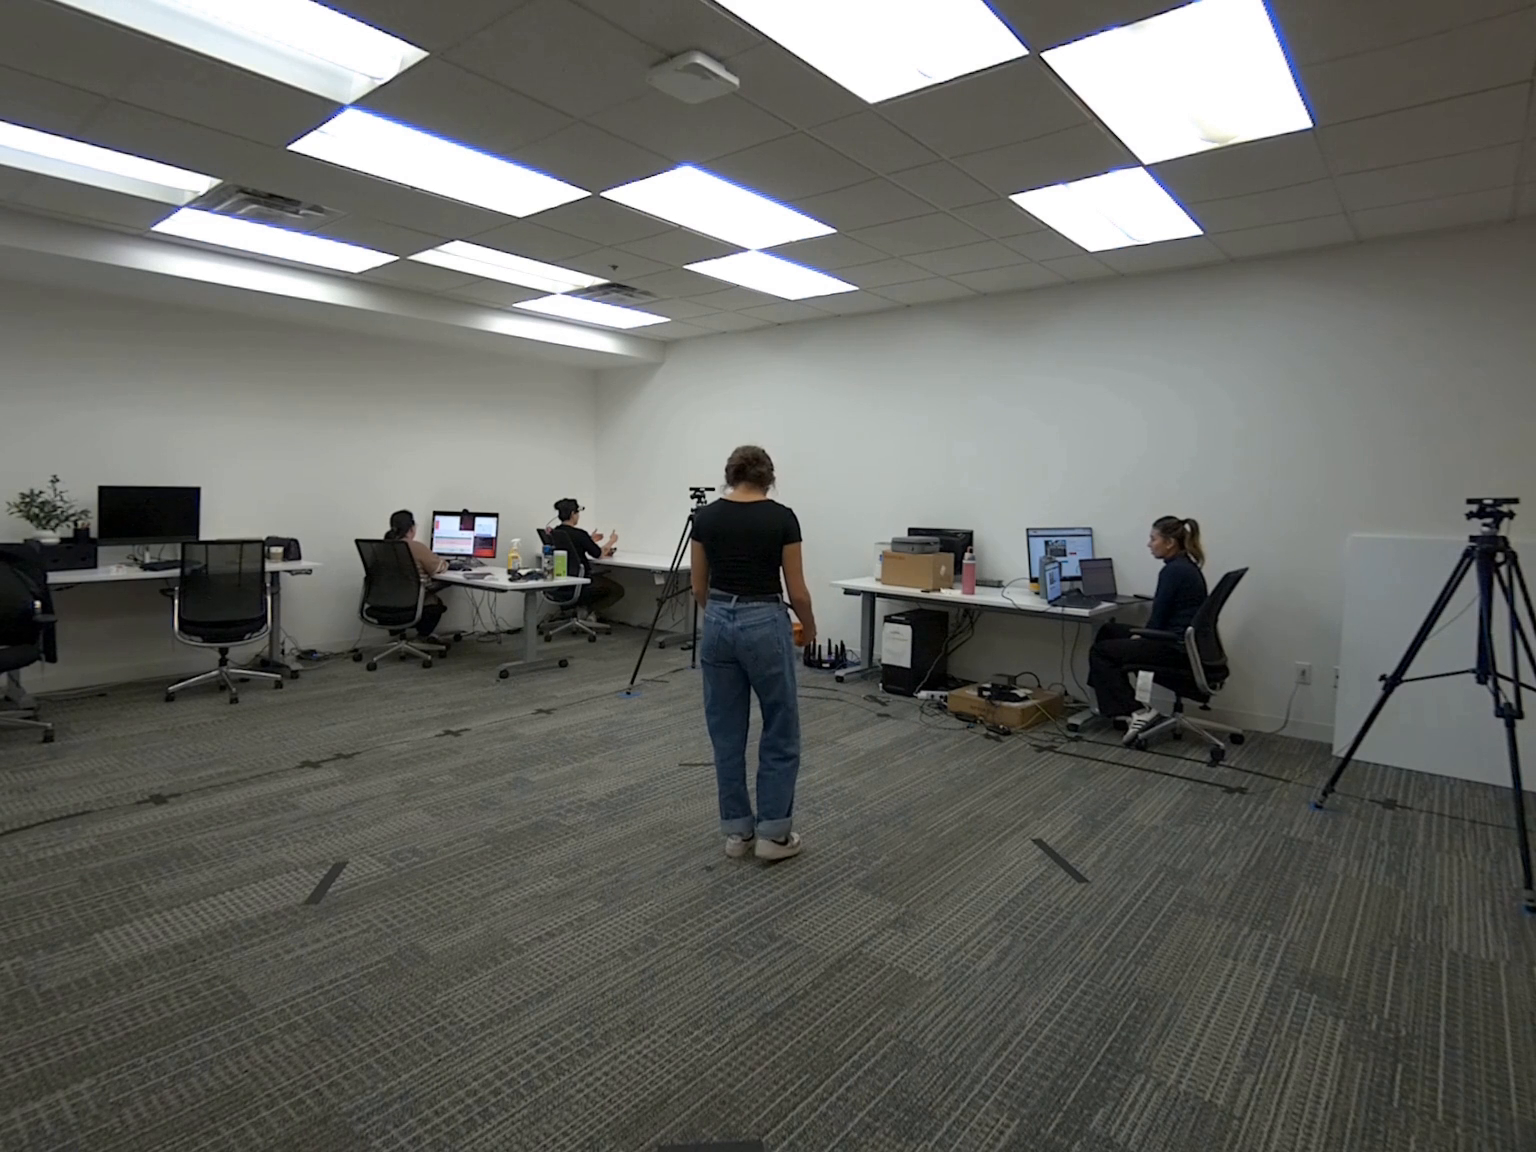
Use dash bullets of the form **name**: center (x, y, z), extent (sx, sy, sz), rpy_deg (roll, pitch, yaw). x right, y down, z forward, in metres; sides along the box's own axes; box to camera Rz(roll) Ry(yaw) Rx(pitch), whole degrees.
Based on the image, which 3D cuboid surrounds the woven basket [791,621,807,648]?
- **woven basket**: center (-0.002, 0.236, 3.430), extent (0.359, 0.073, 0.246), rpy_deg (-1, 2, 25)
